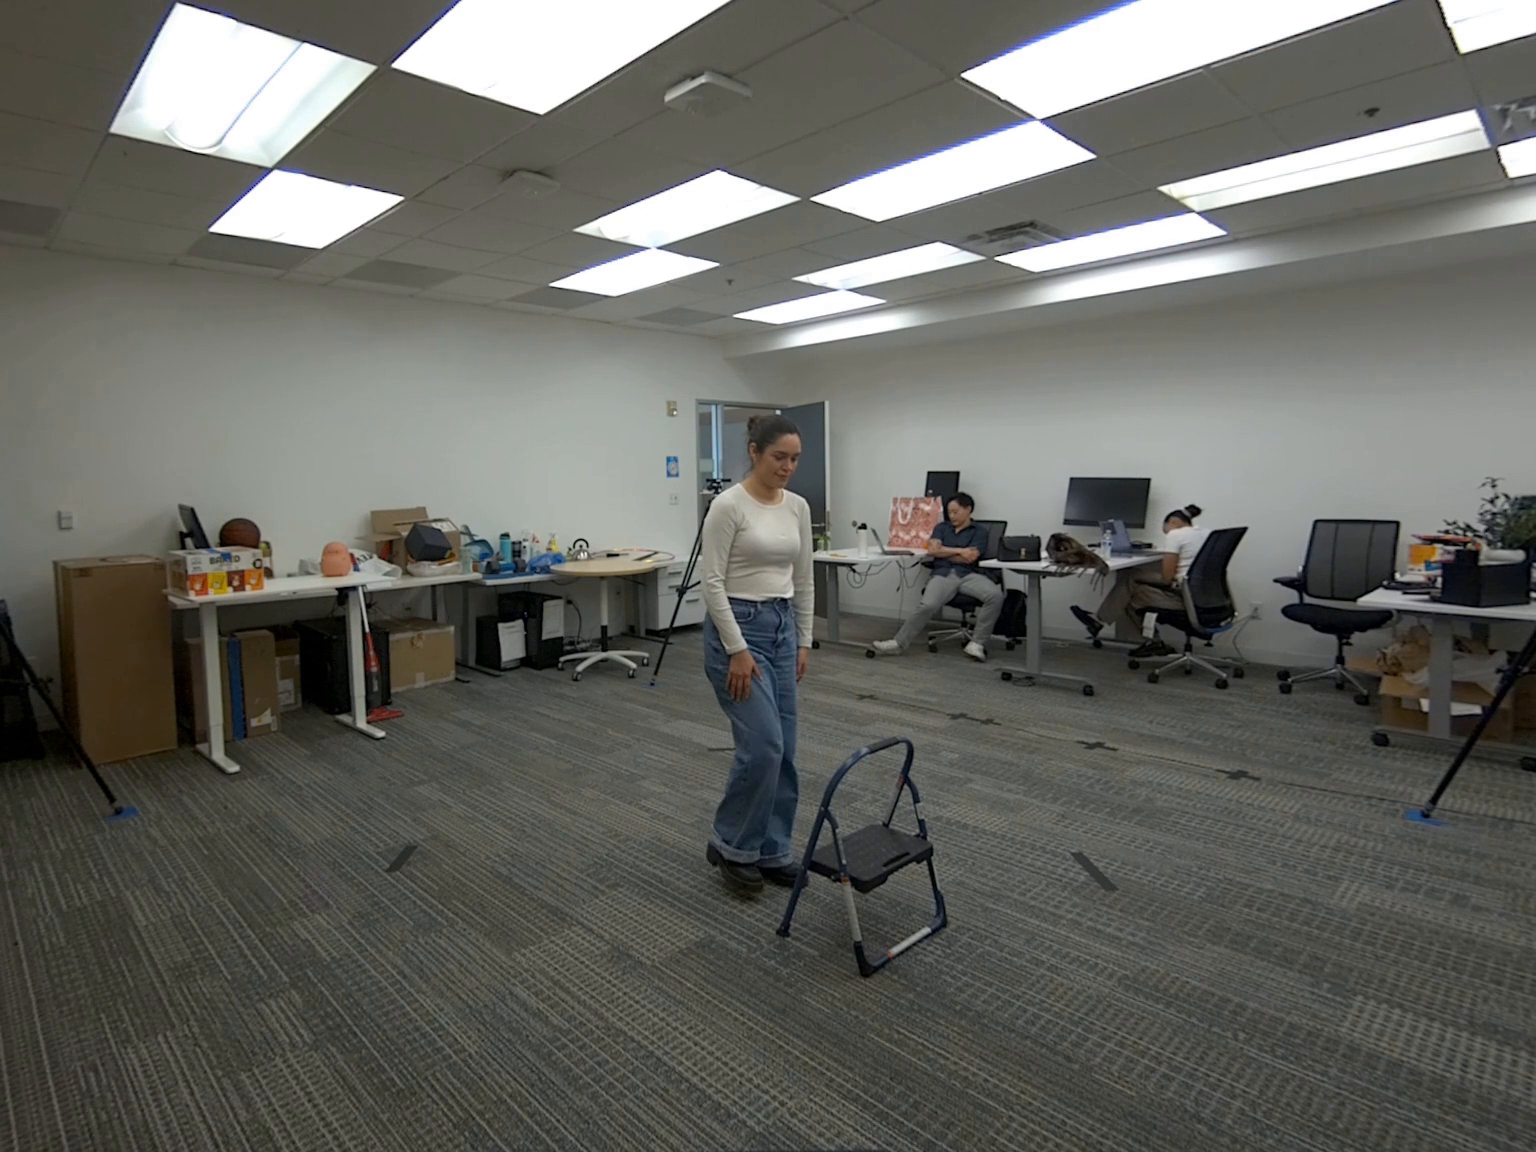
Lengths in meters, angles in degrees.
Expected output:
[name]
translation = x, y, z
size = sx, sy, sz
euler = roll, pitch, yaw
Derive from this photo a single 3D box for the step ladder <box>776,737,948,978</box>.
[step ladder]
translation = 0.292, 0.792, 2.623
size = 0.419, 0.604, 0.360
euler = -6, 6, -45
